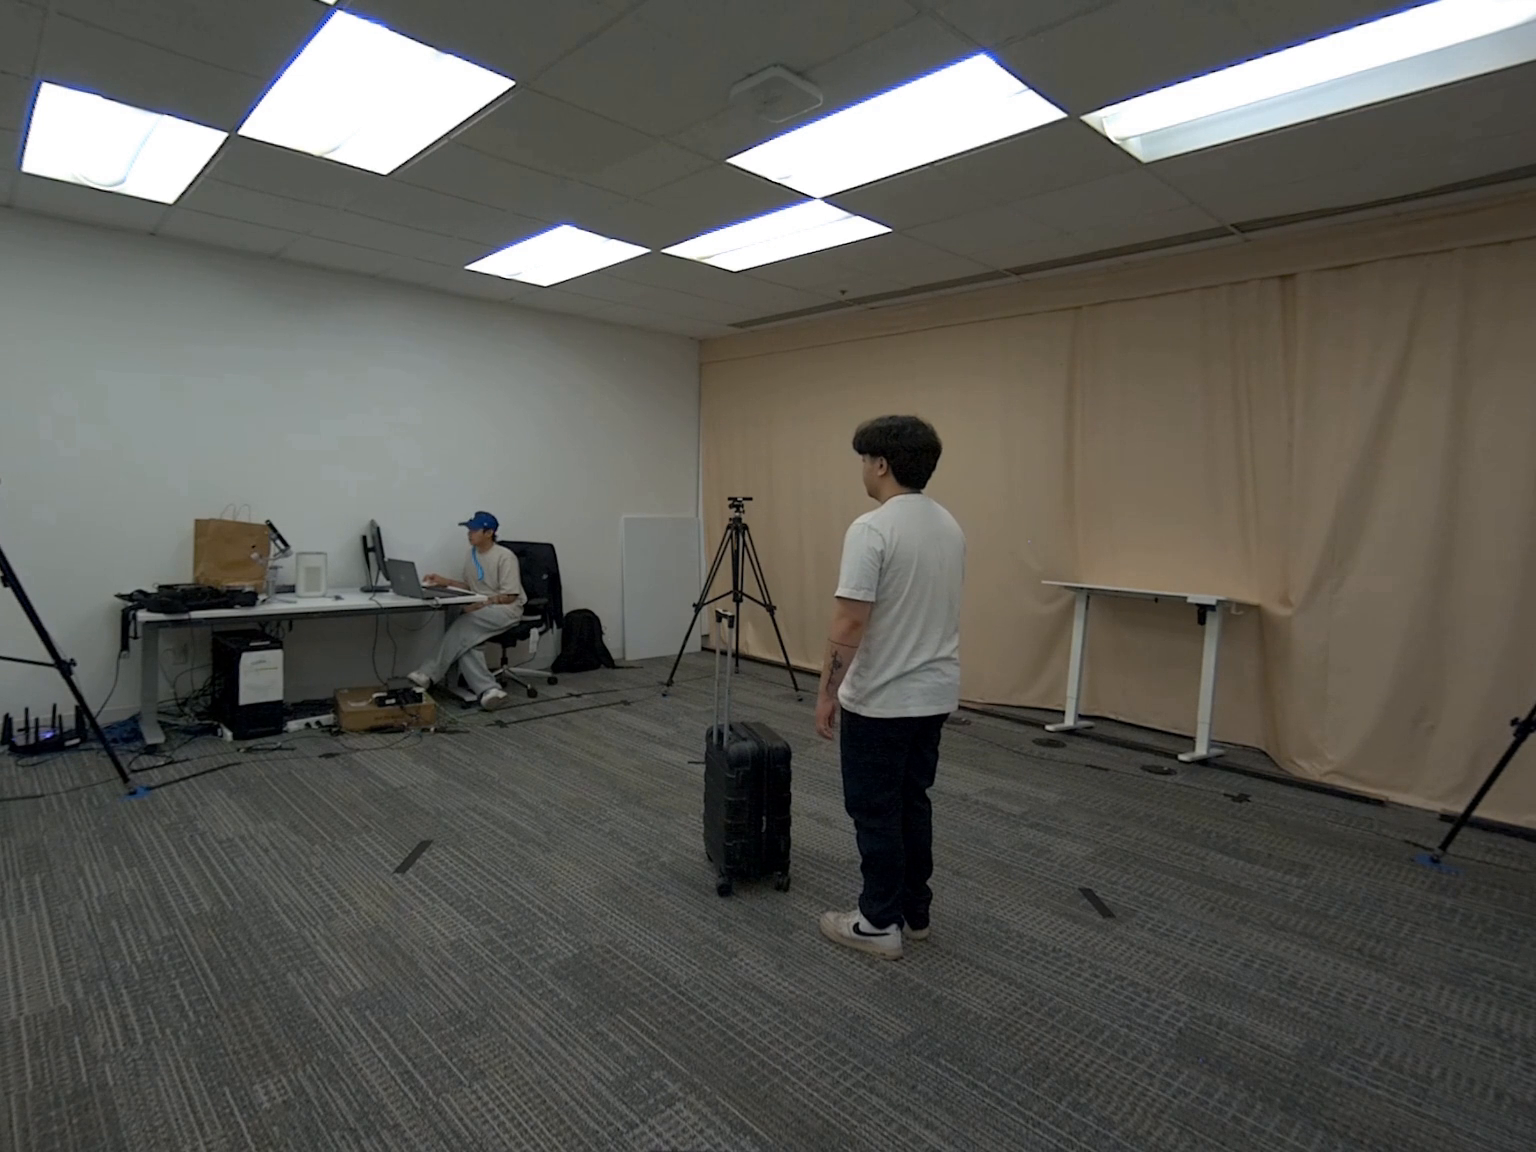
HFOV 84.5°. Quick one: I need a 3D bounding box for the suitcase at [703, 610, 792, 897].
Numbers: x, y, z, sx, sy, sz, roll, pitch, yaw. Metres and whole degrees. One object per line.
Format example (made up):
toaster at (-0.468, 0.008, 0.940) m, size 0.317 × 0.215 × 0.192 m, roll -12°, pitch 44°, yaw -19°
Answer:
suitcase at (-0.078, 0.632, 3.108) m, size 0.254 × 0.976 × 0.390 m, roll 2°, pitch 4°, yaw -16°
